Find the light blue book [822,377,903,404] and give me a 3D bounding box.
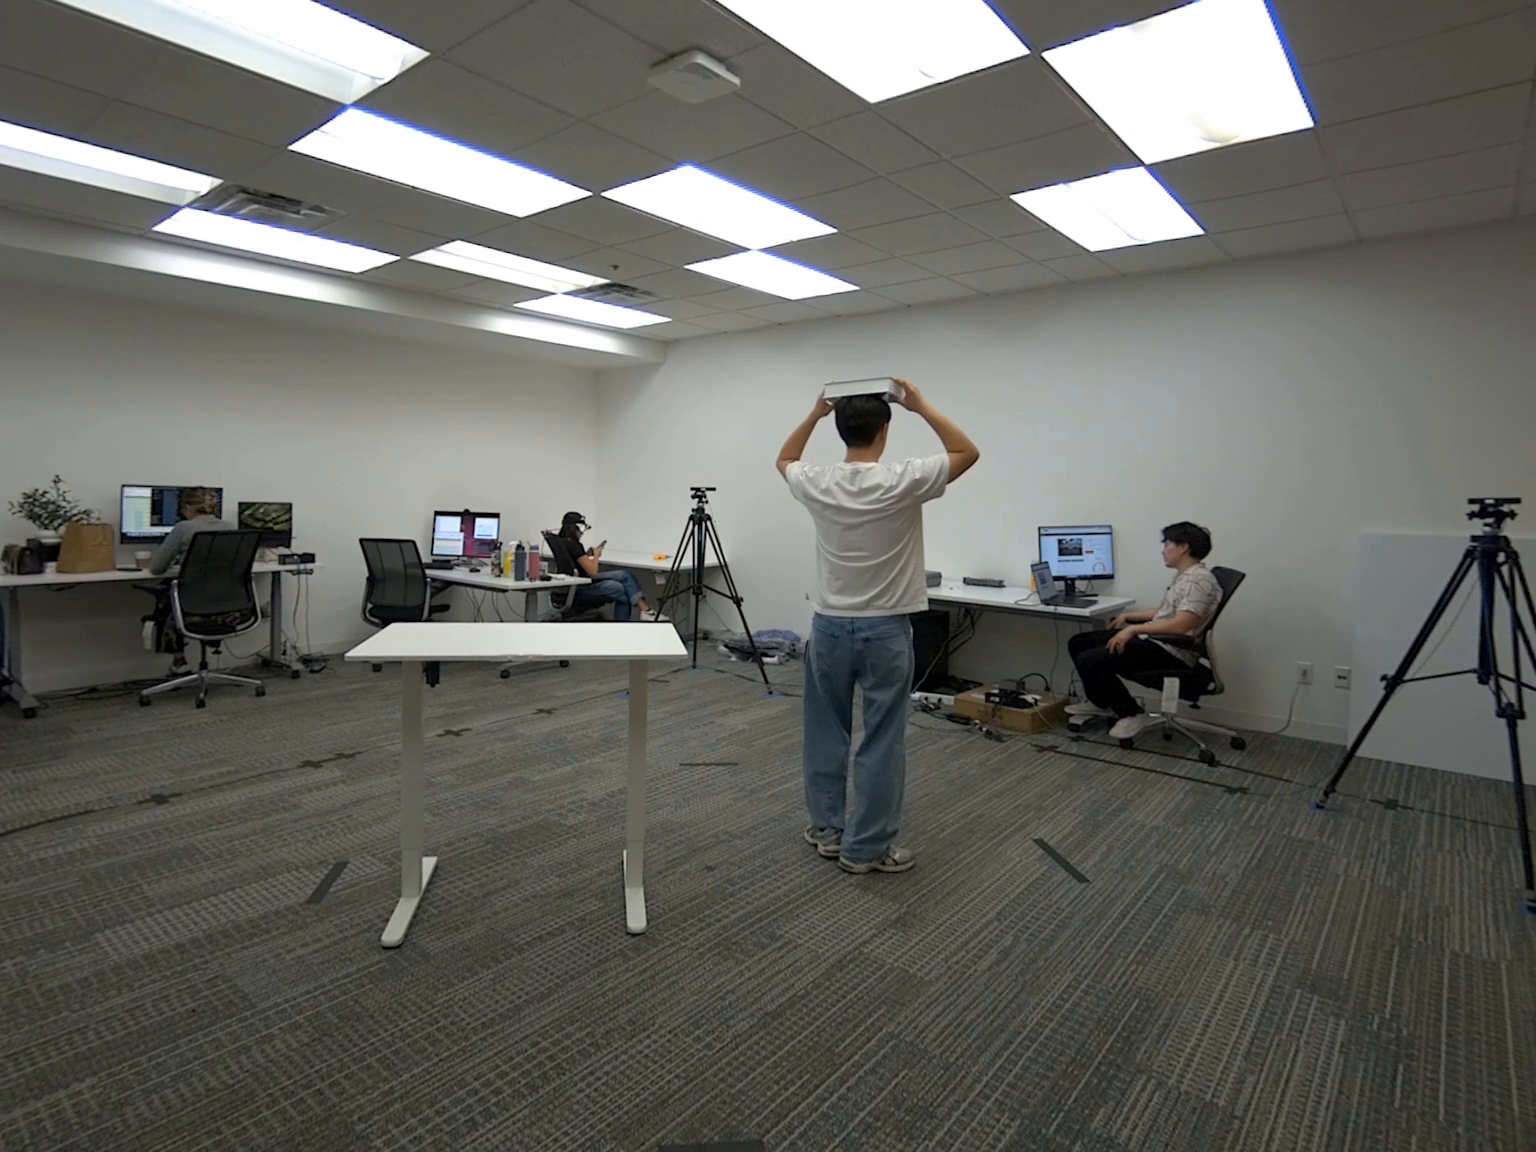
[{"bbox_3d":[0.351,-0.694,3.217,0.268,0.059,0.186,1,-2,29],"label":"light blue book"}]
